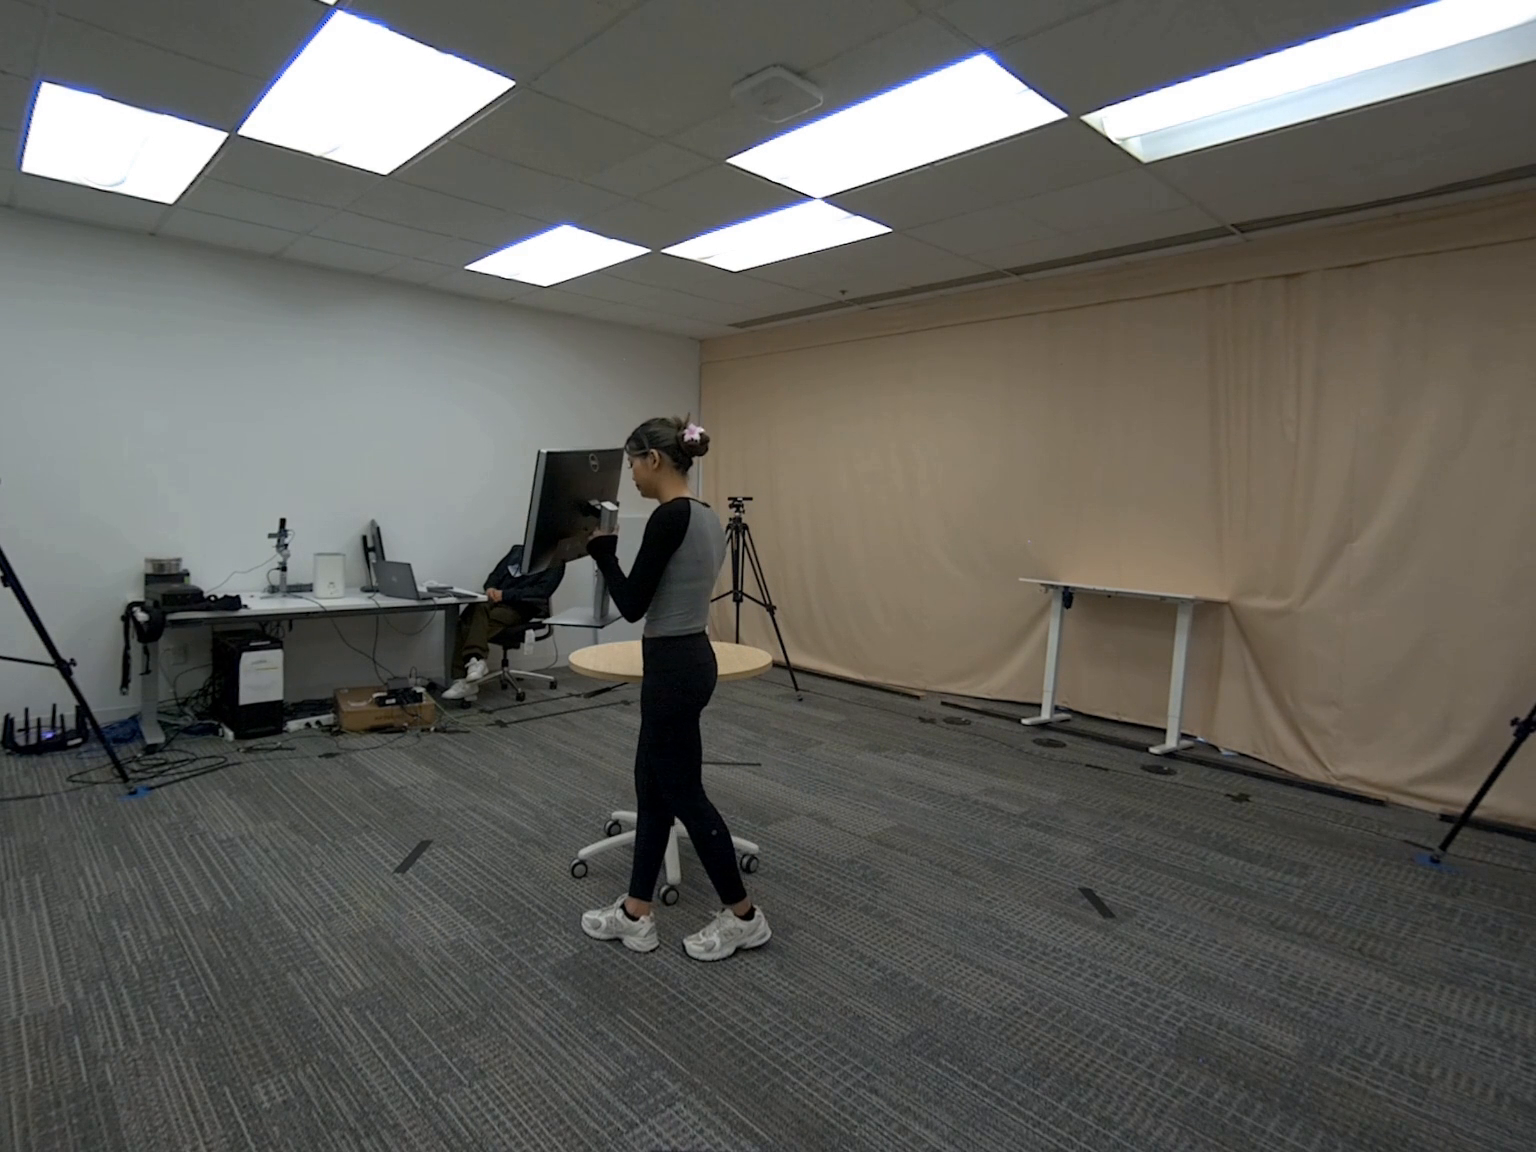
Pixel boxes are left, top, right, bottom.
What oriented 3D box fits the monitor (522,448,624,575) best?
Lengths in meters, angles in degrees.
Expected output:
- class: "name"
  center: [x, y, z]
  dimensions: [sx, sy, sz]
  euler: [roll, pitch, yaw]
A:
- class: "monitor"
  center: [-0.564, -0.125, 2.630]
  dimensions: [0.189, 0.519, 0.537]
  euler: [2, 10, 12]
